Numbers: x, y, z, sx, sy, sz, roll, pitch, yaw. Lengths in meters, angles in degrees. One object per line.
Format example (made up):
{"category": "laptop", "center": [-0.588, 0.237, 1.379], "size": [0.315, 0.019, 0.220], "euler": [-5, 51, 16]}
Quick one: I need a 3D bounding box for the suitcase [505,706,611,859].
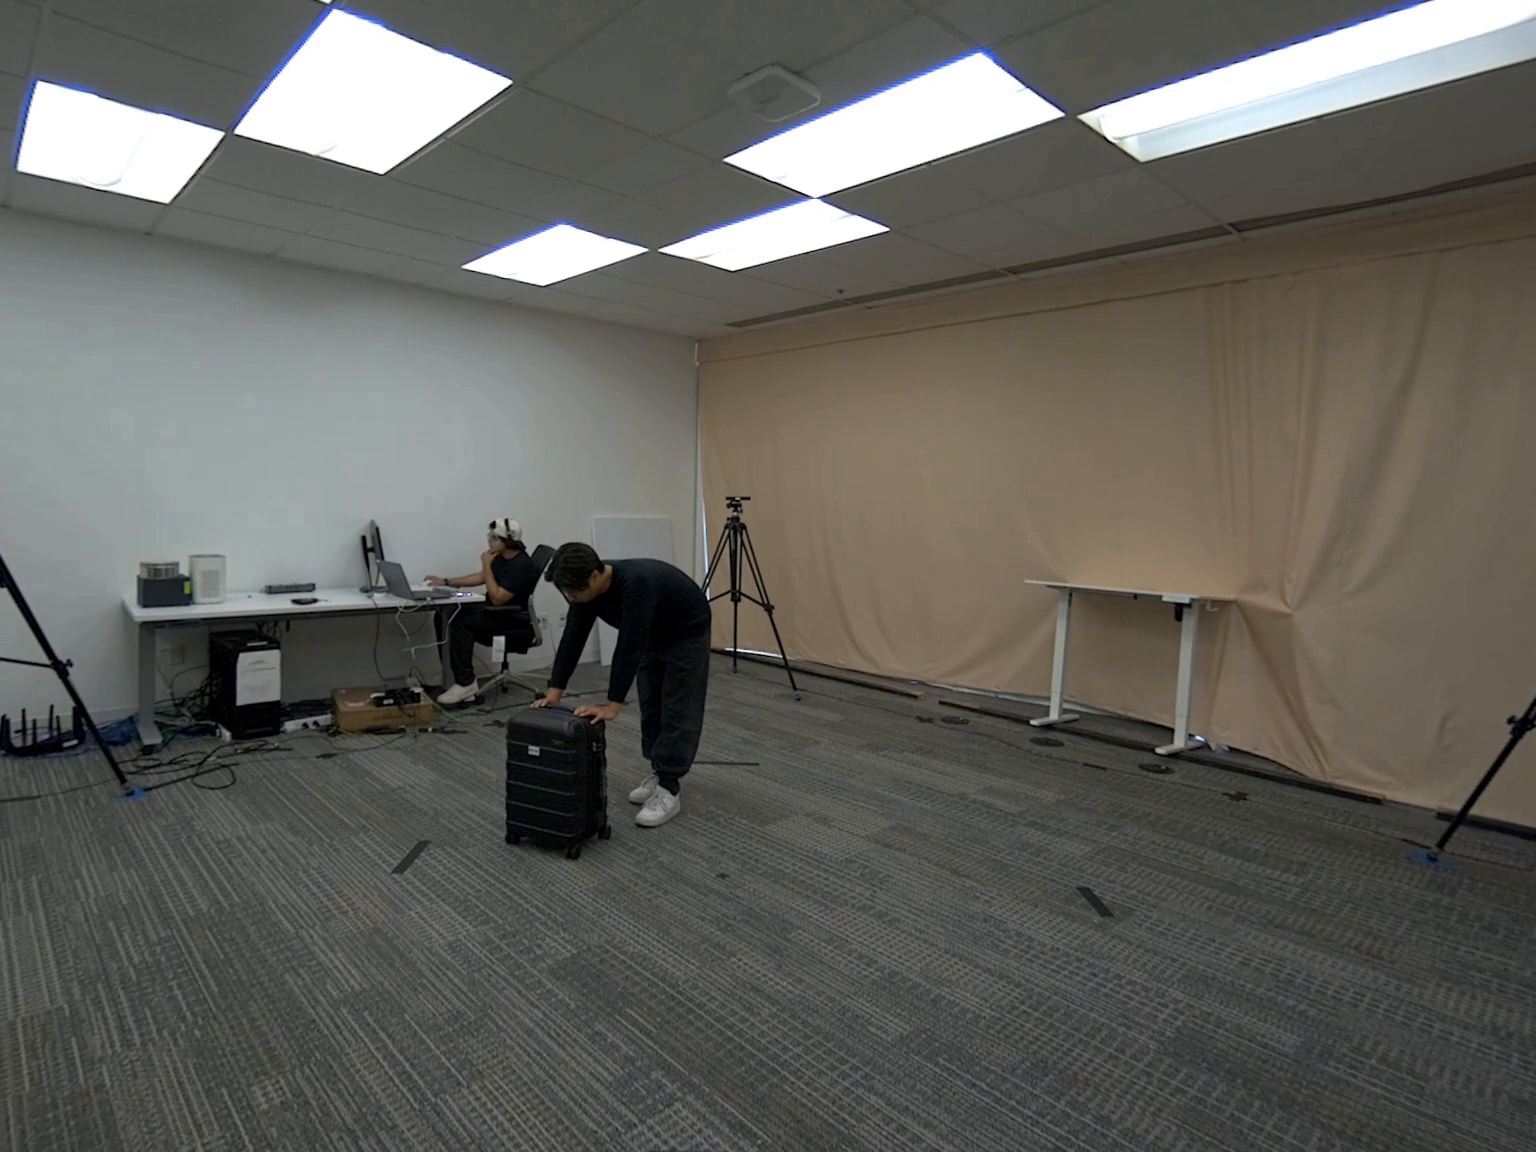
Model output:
{"category": "suitcase", "center": [-0.850, 0.795, 3.345], "size": [0.383, 0.547, 0.244], "euler": [4, 5, 27]}
